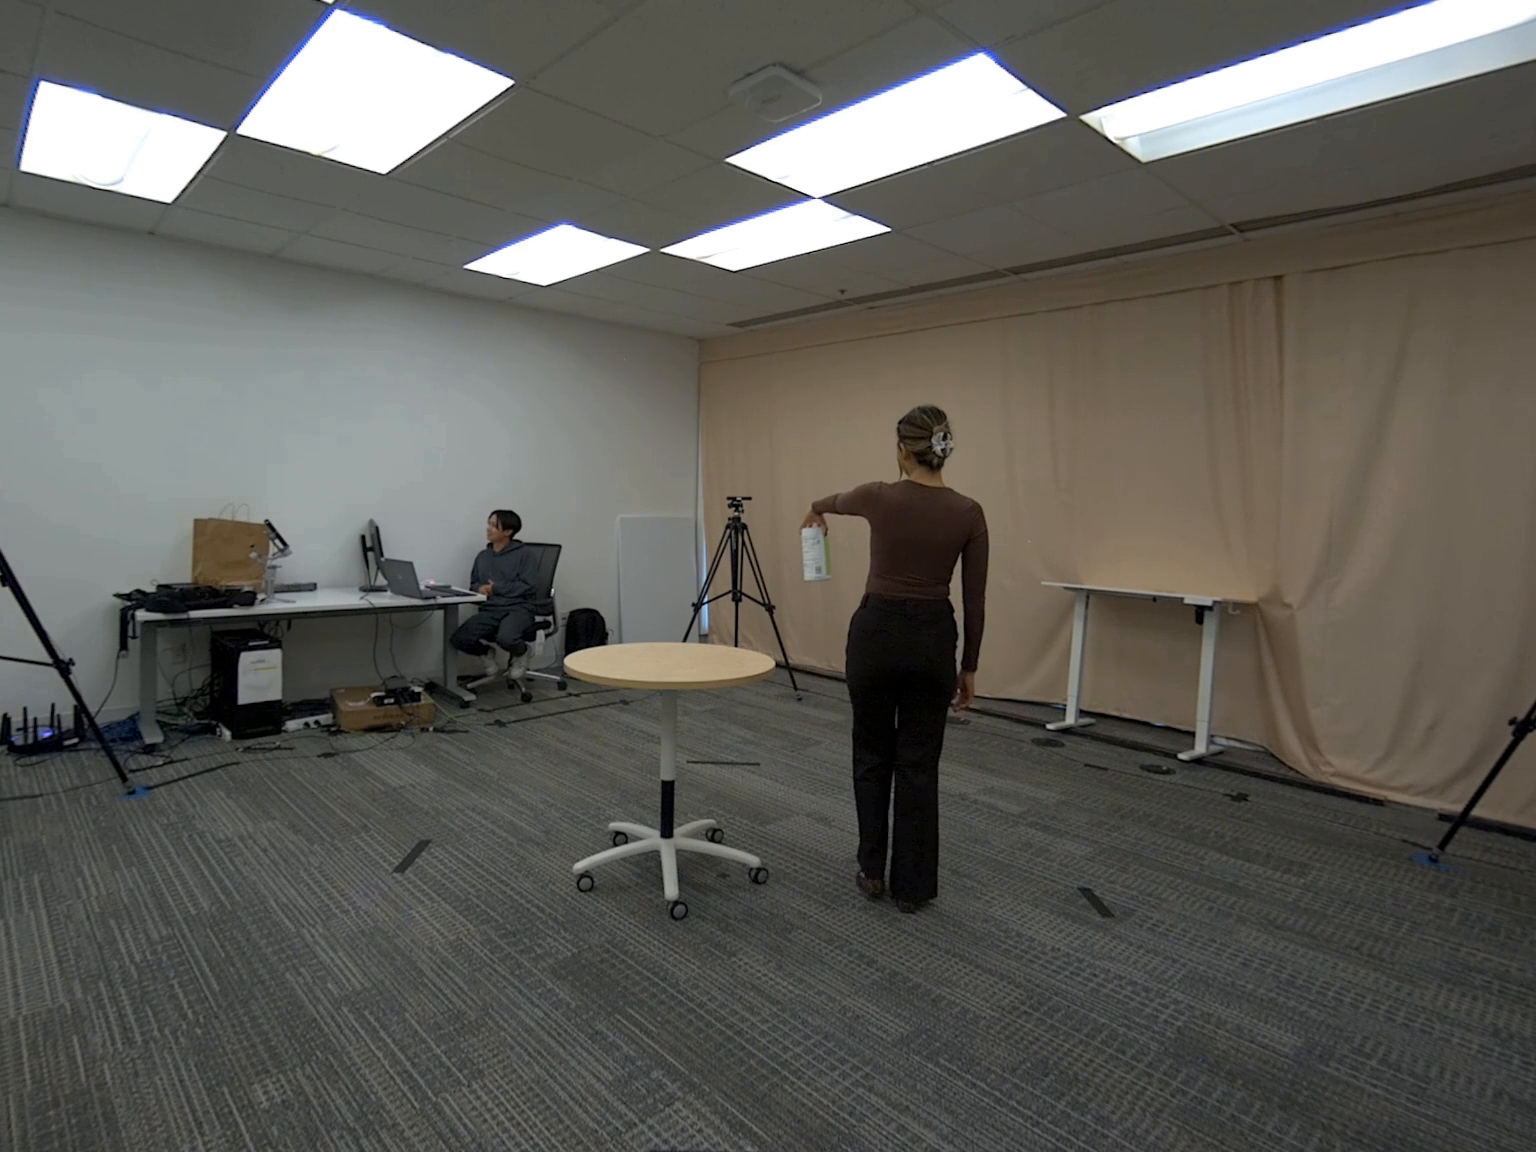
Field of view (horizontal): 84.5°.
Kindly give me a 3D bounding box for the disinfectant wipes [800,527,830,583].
[{"bbox_3d":[0.191,-0.088,3.422,0.118,0.217,0.118,-4,2,-1],"label":"disinfectant wipes"}]
